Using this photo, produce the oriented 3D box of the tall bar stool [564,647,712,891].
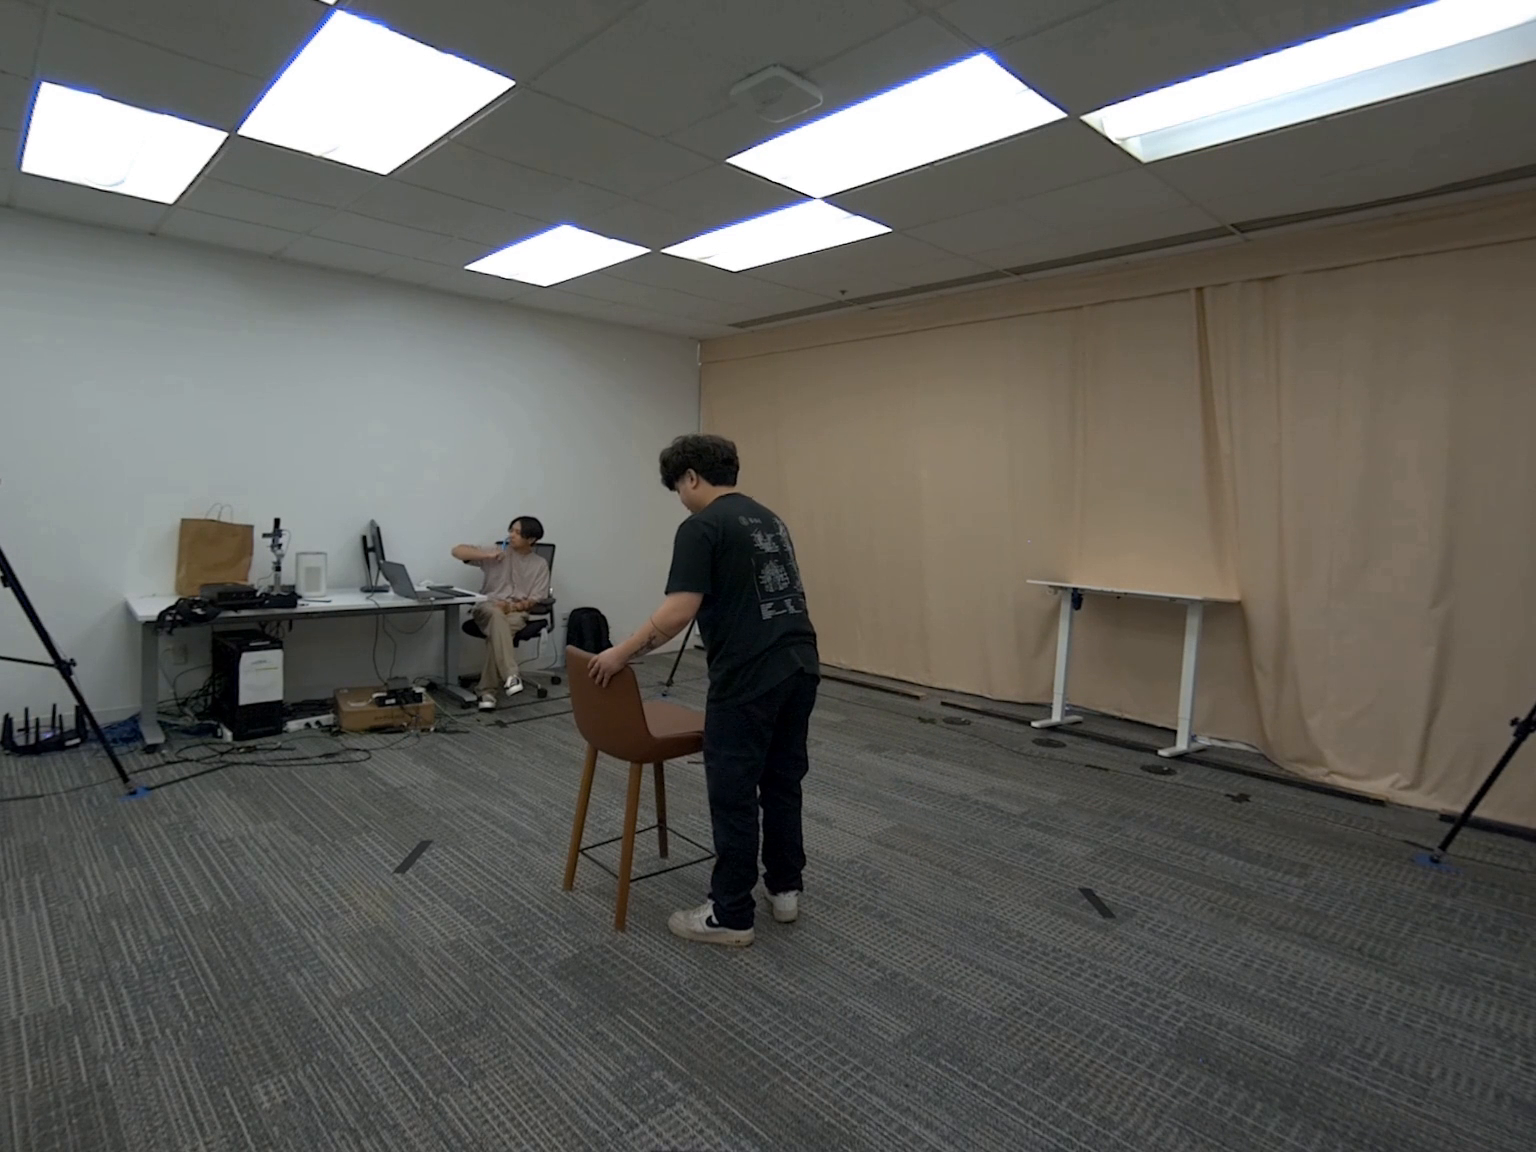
[{"bbox_3d":[-0.439,0.677,2.942,0.458,0.886,0.468,-5,6,-39],"label":"tall bar stool"}]
